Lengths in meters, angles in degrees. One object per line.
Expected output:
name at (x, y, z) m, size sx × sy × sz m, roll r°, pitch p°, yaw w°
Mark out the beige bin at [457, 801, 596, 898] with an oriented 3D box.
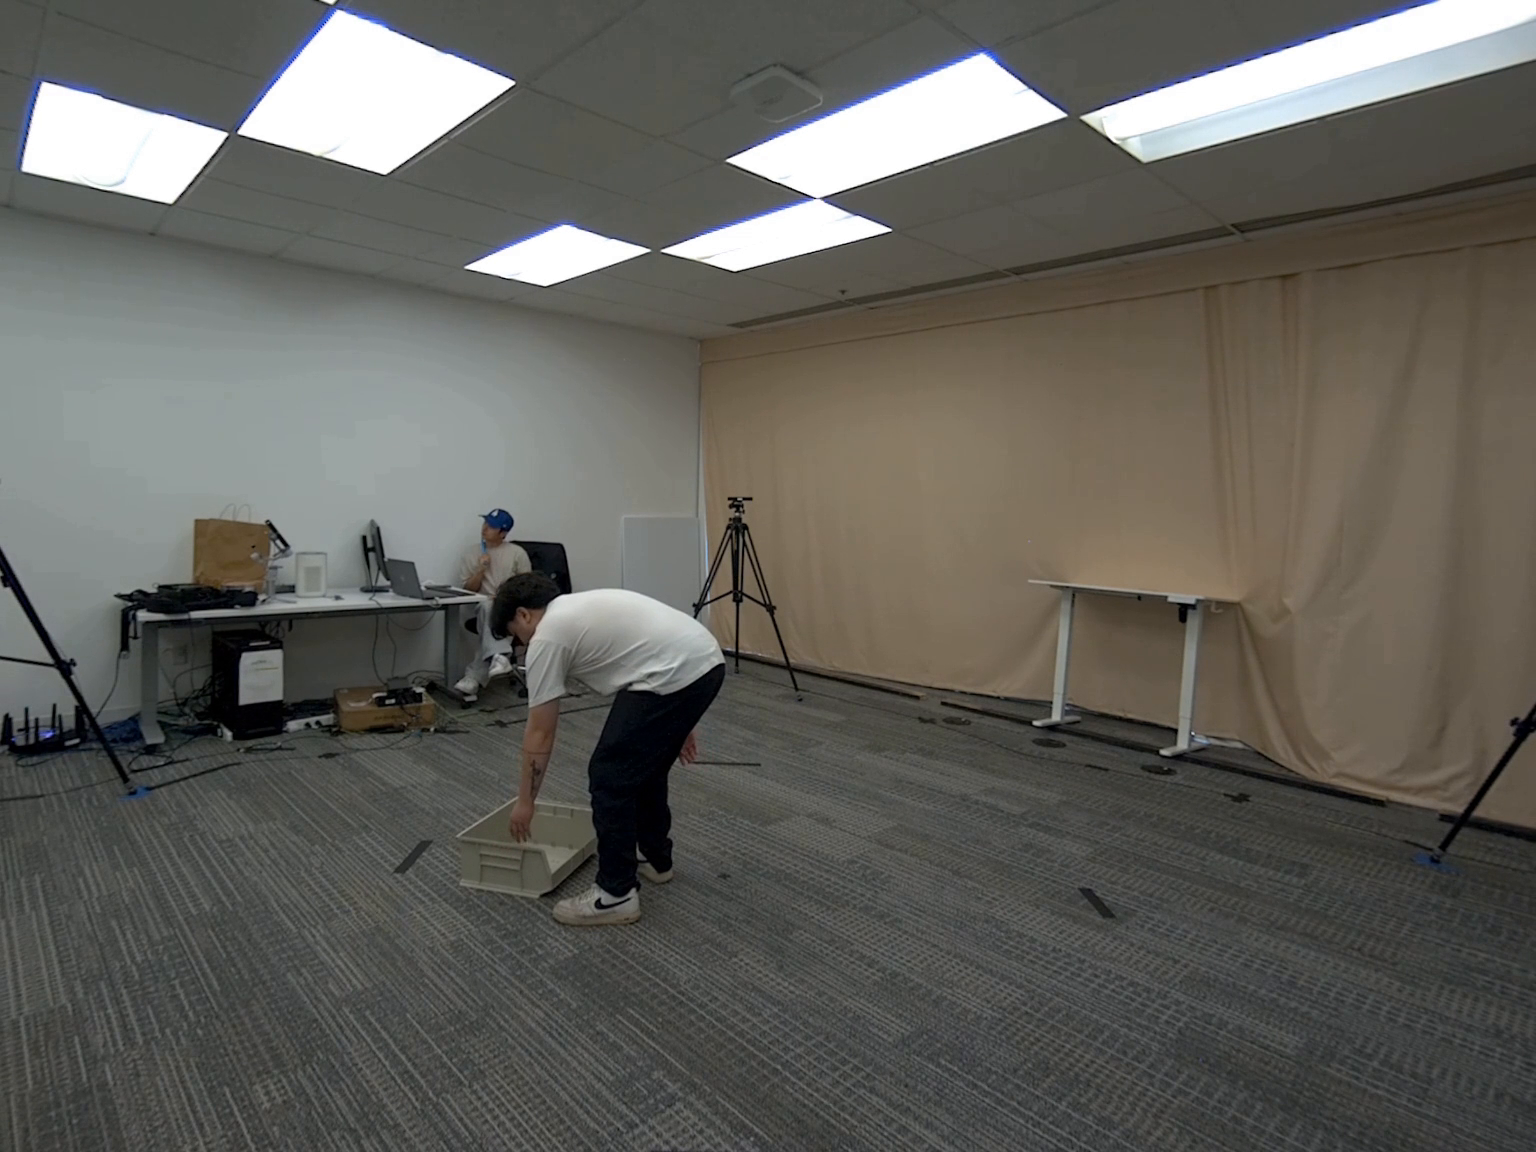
beige bin at (-0.871, 0.997, 3.125) m, size 0.382 × 0.188 × 0.418 m, roll 2°, pitch 6°, yaw 14°
